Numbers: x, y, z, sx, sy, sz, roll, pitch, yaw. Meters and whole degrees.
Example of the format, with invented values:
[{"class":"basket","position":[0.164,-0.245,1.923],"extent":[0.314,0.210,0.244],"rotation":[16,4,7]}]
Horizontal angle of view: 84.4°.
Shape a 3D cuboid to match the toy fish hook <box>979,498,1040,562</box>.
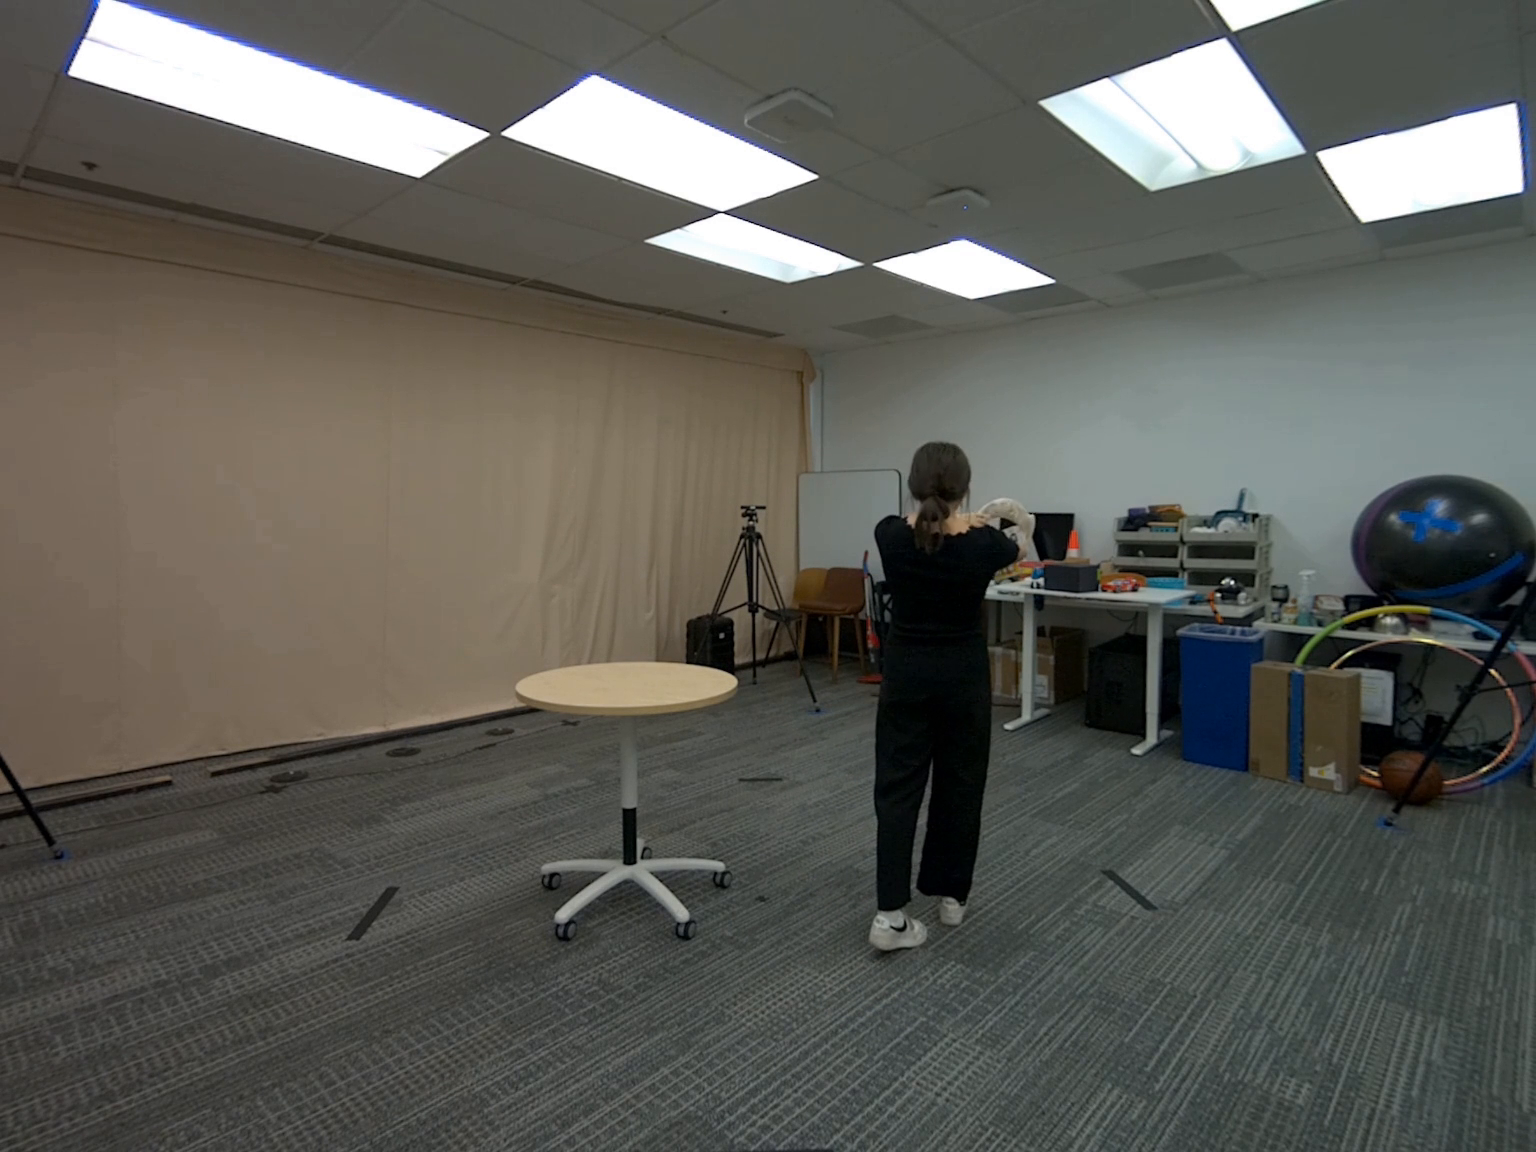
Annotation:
[{"class":"toy fish hook","position":[0.776,-0.059,3.098],"extent":[0.230,0.508,0.047],"rotation":[45,11,23]}]
